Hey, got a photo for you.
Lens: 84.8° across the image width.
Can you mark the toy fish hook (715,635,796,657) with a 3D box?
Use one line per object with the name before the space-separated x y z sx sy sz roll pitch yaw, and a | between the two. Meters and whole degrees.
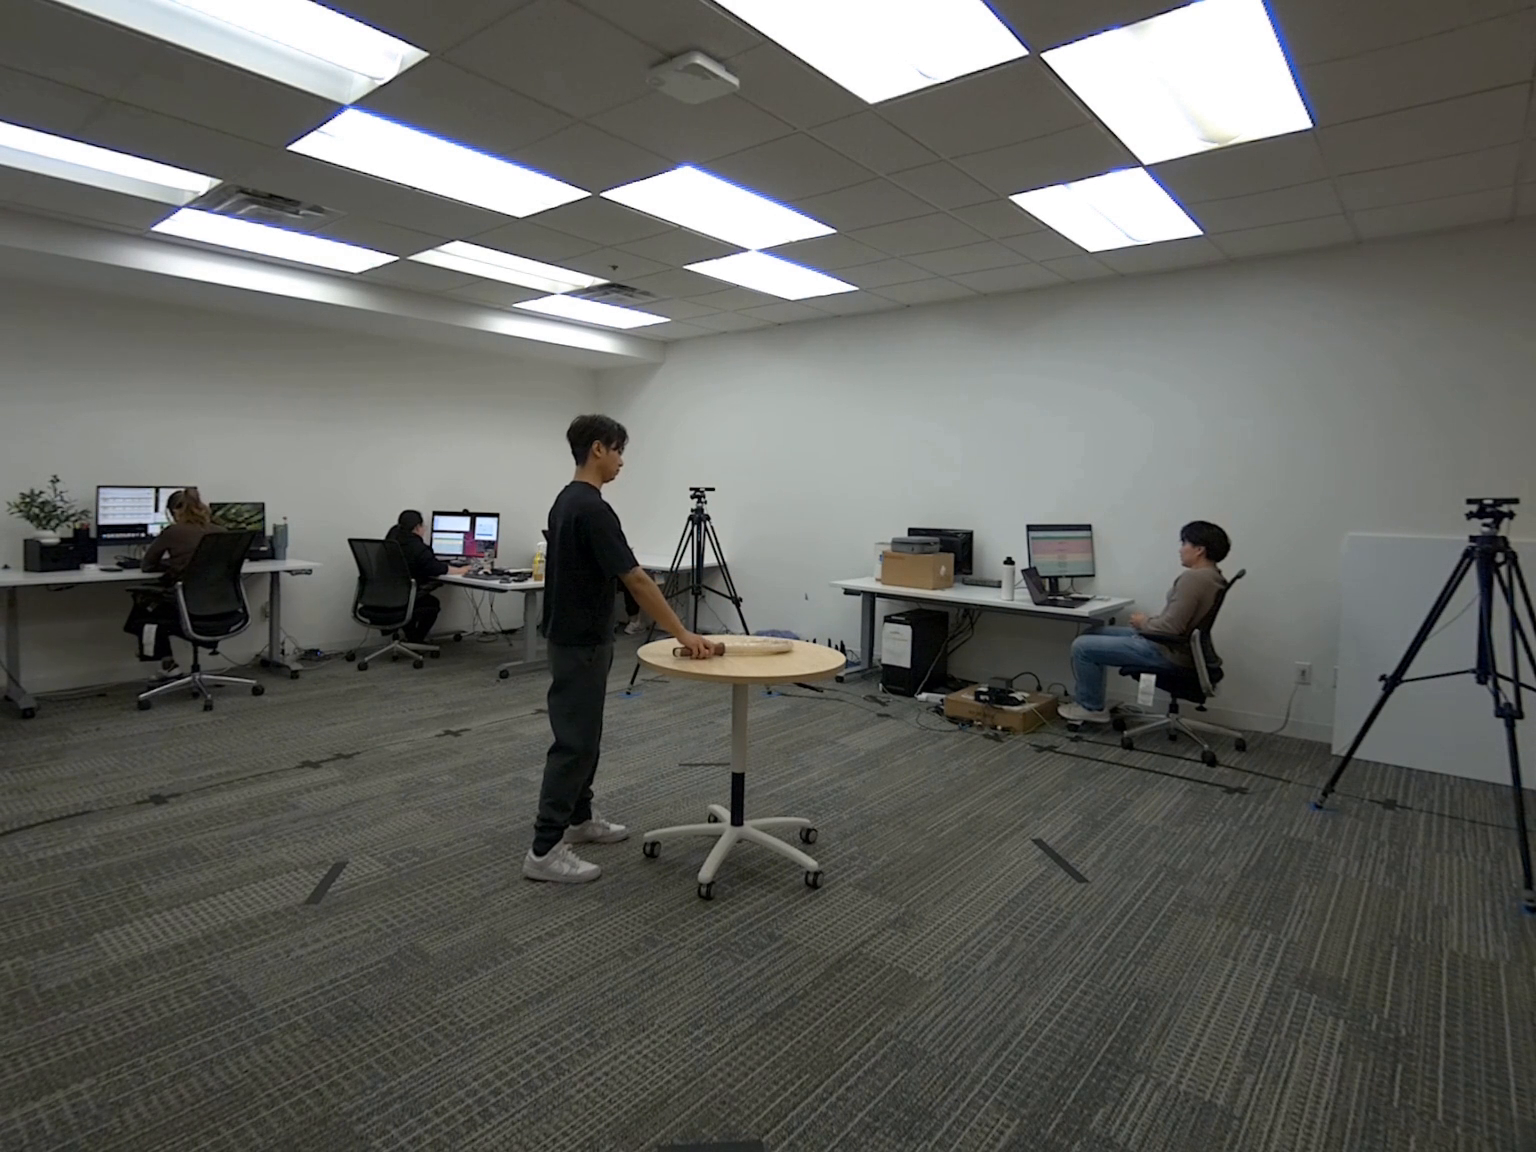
toy fish hook | -0.163 0.269 3.162 0.494 0.048 0.230 0 0 -27
